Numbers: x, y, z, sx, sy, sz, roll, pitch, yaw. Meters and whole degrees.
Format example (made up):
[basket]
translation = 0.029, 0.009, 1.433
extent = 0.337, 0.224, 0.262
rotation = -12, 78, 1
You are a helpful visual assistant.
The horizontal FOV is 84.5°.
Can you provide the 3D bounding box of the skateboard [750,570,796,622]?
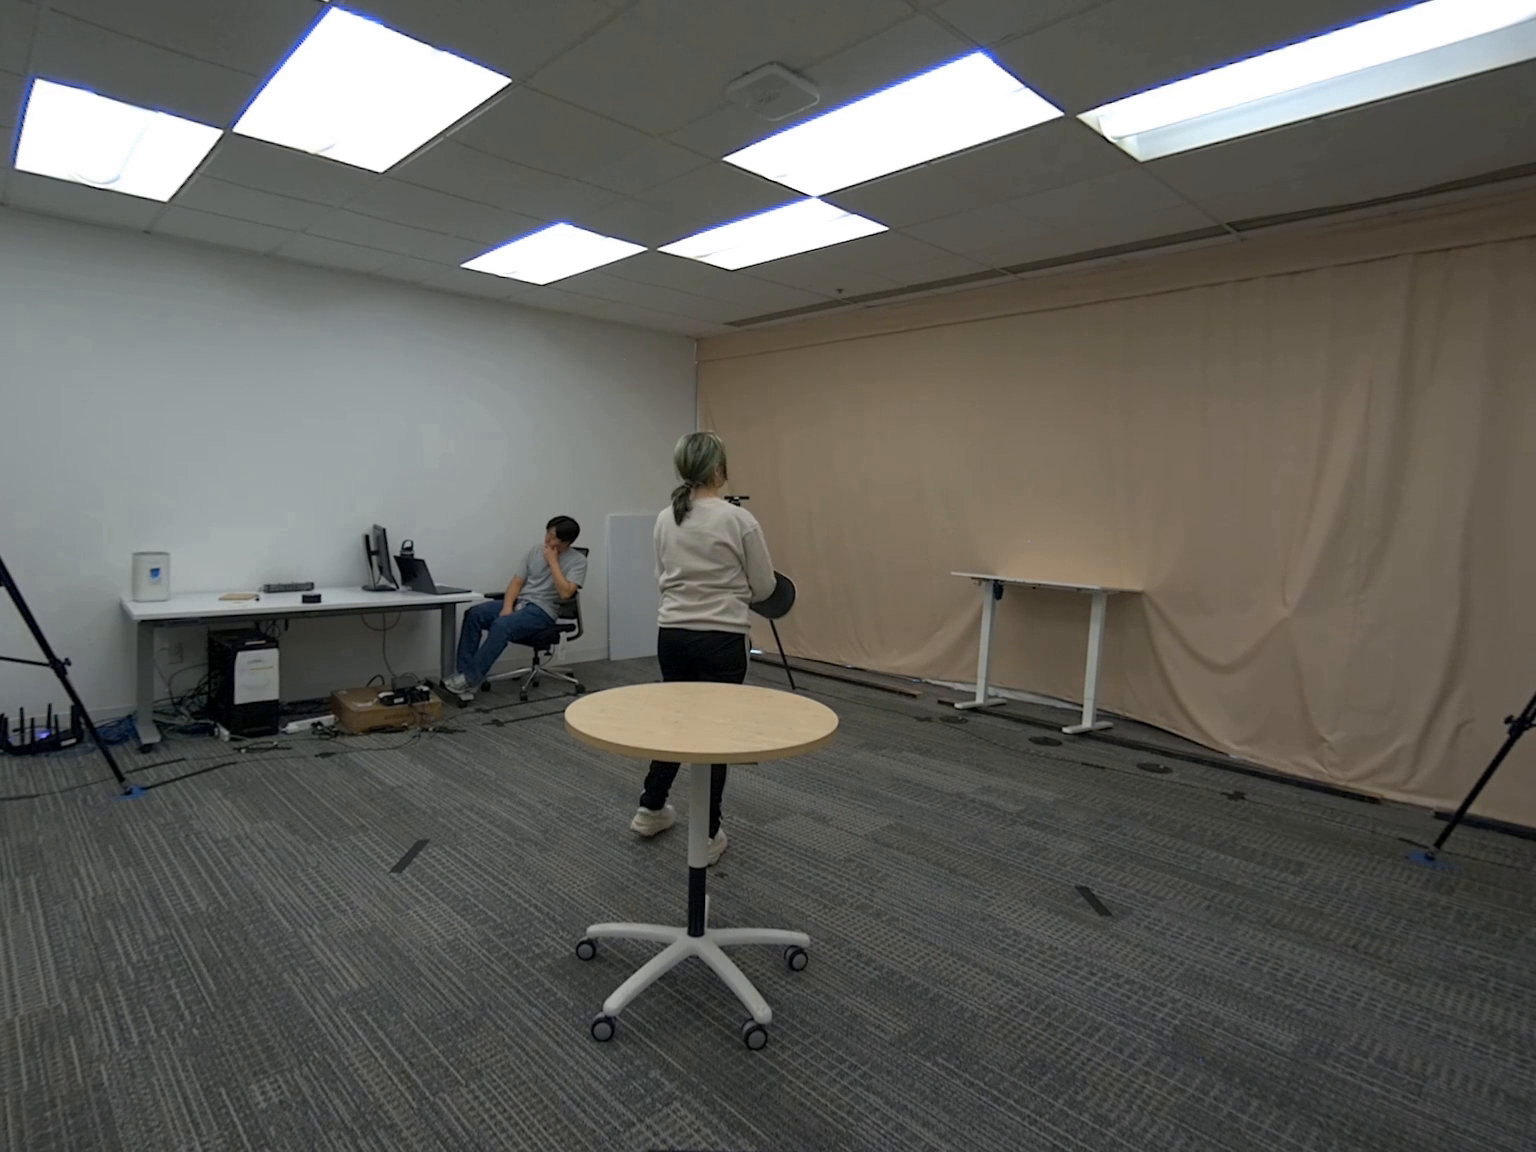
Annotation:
[skateboard]
translation = -0.165, -0.011, 3.642
extent = 0.810, 0.193, 0.107
rotation = 28, -2, 38
